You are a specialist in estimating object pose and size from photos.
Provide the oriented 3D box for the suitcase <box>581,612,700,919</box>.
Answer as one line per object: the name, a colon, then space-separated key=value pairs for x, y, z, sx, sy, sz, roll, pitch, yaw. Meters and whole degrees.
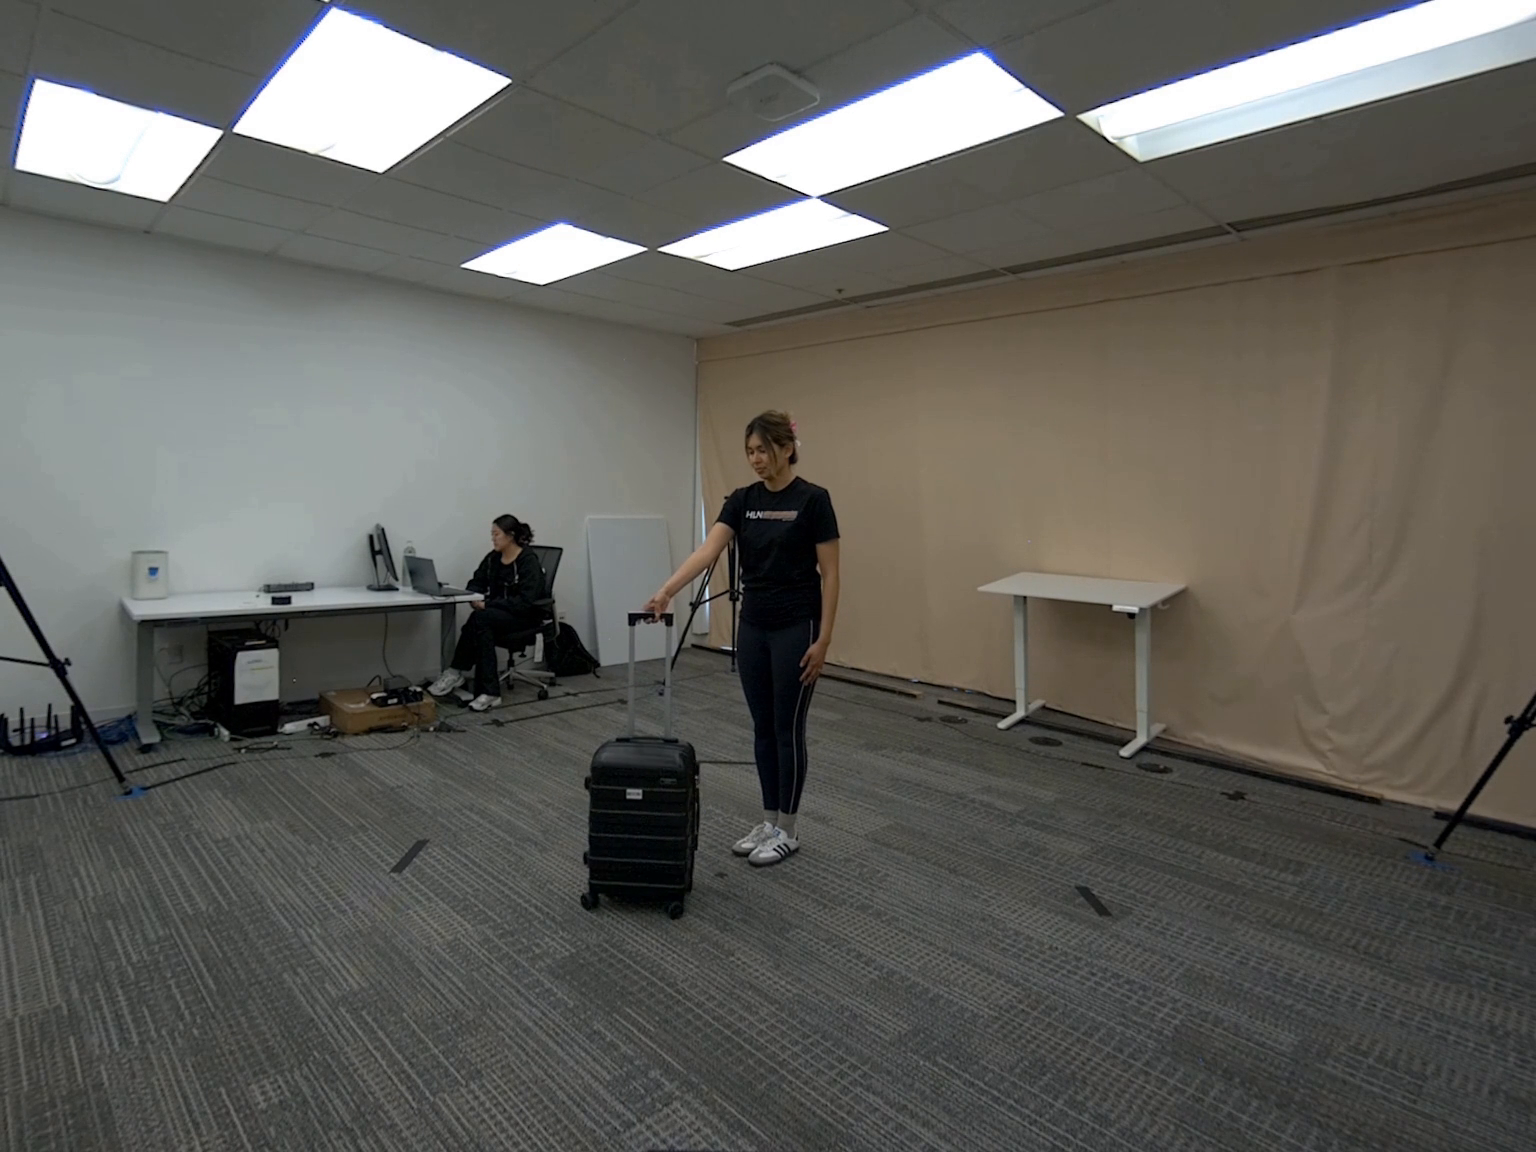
suitcase: x=-0.429 y=0.640 z=2.879 sx=0.385 sy=0.975 sz=0.257 roll=2 pitch=4 yaw=3
